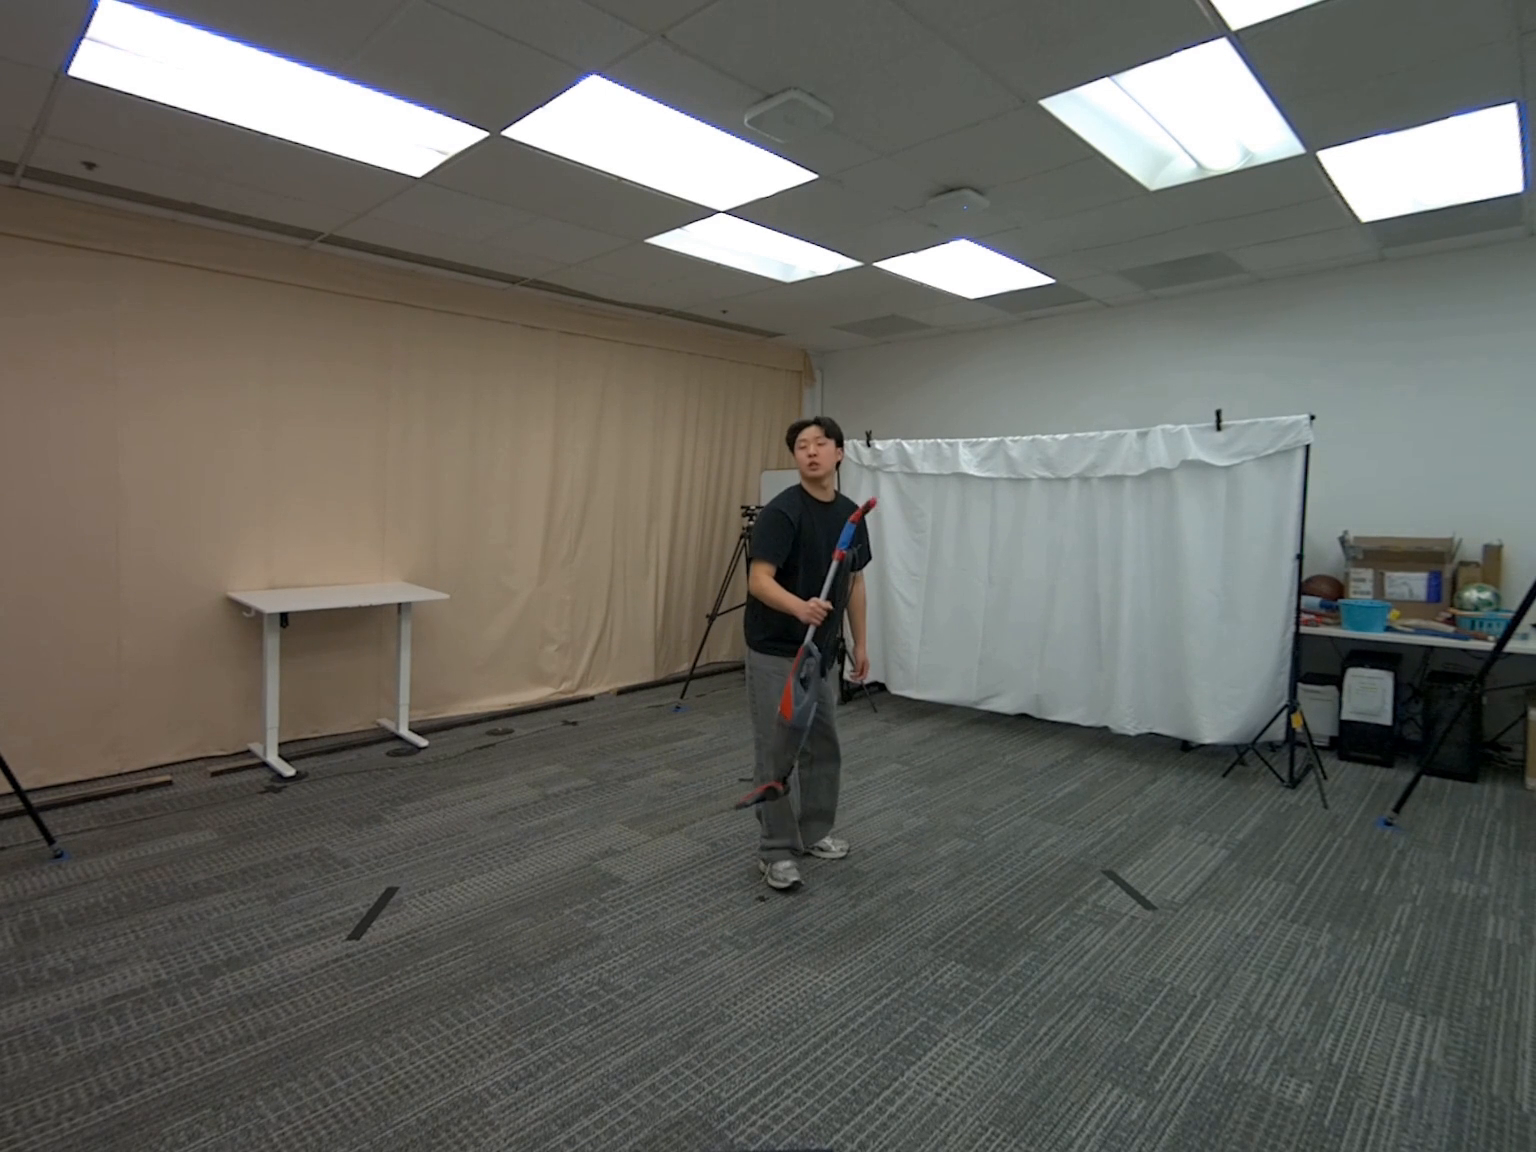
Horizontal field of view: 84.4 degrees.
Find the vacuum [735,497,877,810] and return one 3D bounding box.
[{"bbox_3d":[0.166,0.254,2.804,0.148,1.049,0.246,20,2,22],"label":"vacuum"}]
